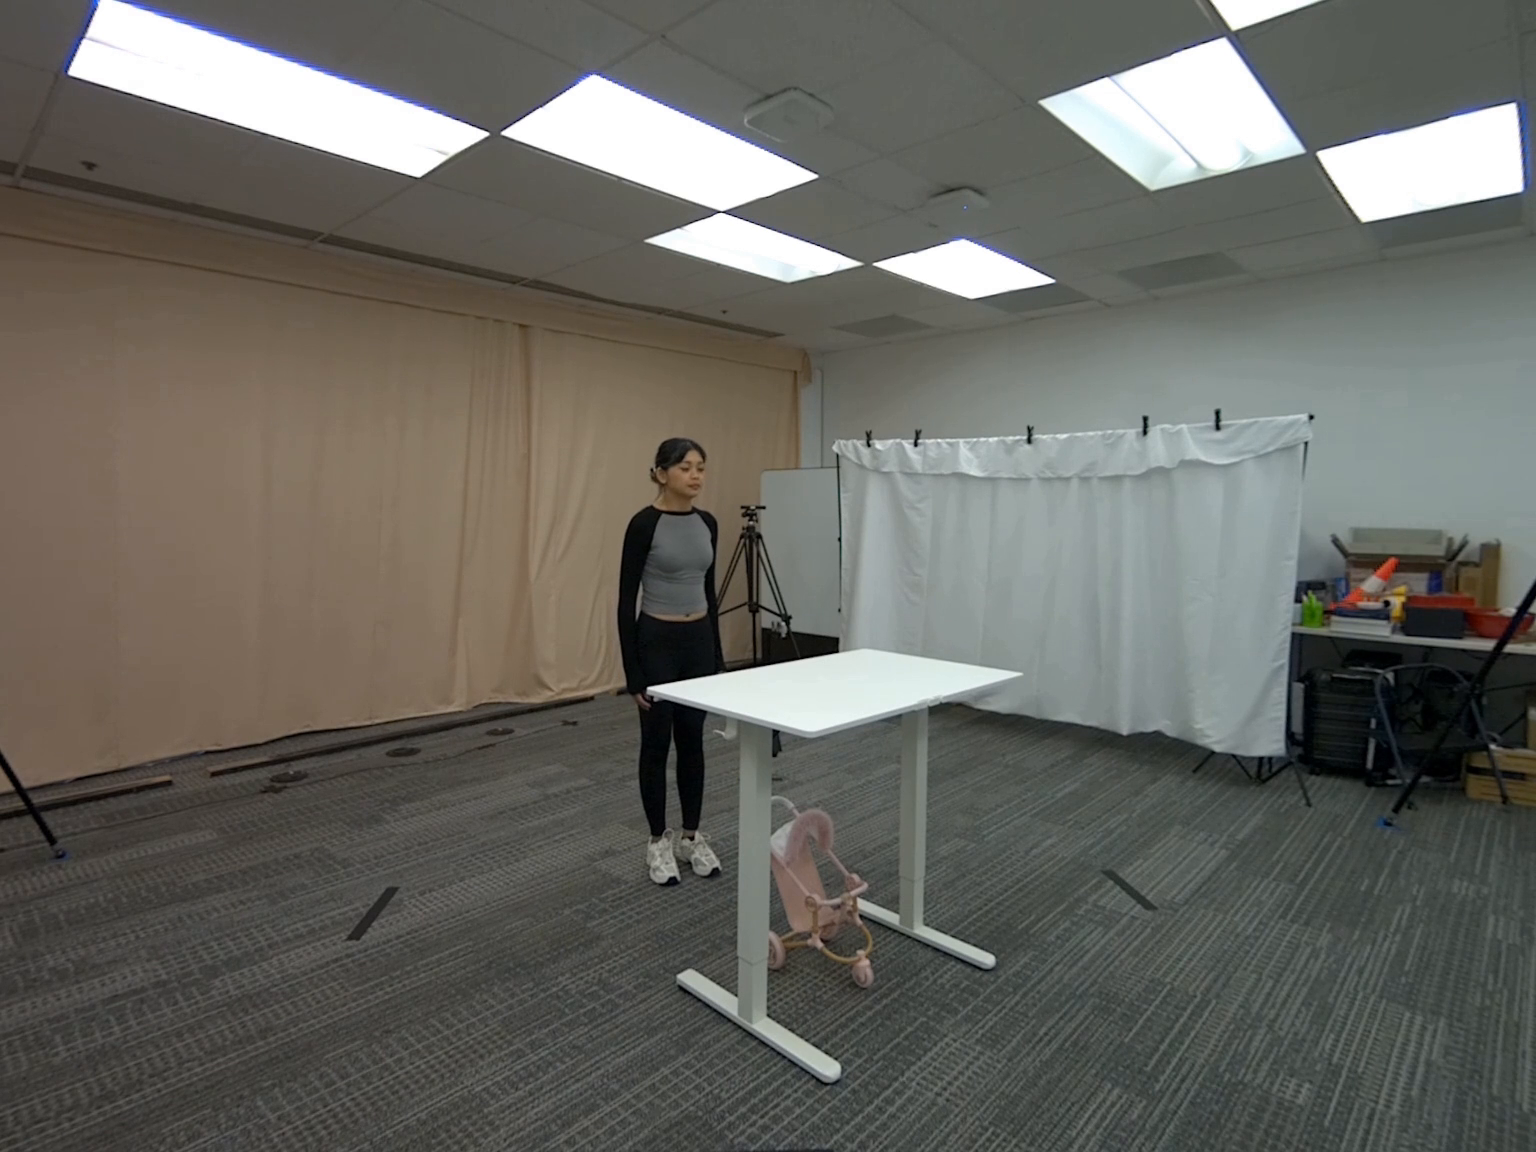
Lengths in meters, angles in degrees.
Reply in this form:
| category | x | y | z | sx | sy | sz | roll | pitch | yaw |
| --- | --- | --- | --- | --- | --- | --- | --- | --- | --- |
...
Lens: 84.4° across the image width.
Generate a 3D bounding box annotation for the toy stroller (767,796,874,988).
| category | x | y | z | sx | sy | sz | roll | pitch | yaw |
| --- | --- | --- | --- | --- | --- | --- | --- | --- | --- |
| toy stroller | 0.142 | 0.954 | 2.559 | 0.273 | 0.539 | 0.349 | -3 | -11 | -41 |
